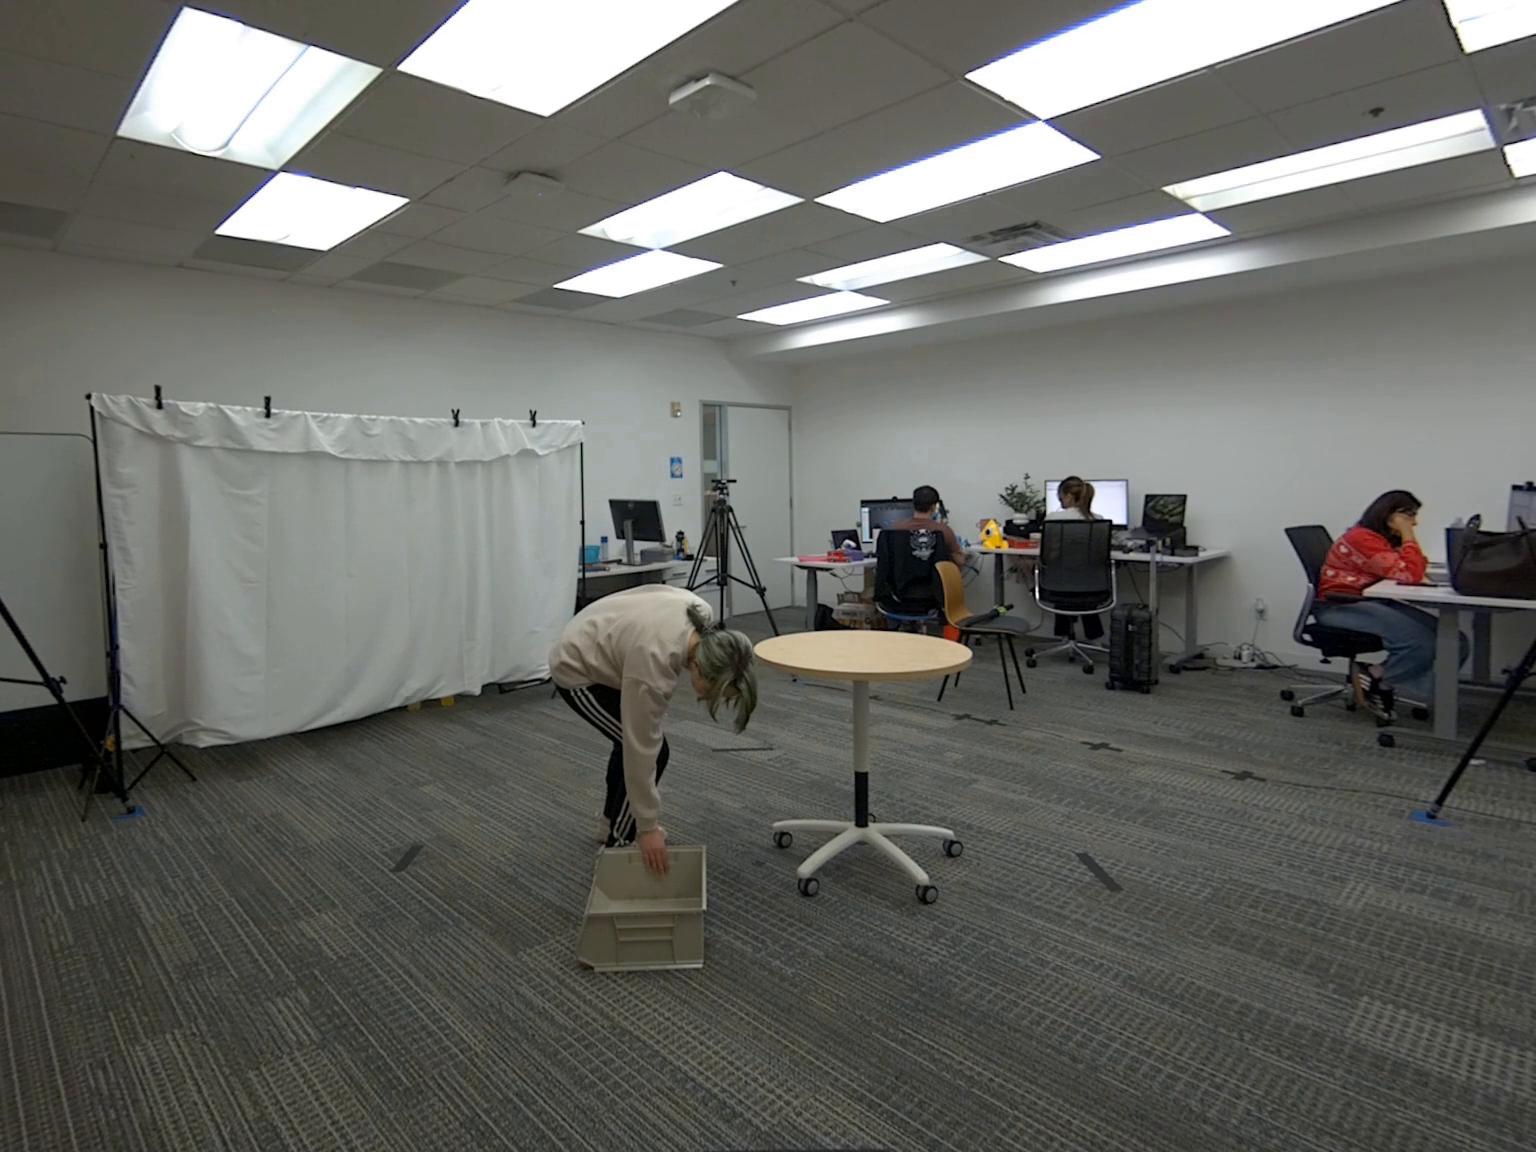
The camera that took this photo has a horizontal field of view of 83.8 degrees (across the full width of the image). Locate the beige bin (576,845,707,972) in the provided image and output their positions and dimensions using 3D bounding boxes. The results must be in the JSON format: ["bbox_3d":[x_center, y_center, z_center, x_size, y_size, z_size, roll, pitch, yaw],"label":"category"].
[{"bbox_3d":[-0.378,1.021,2.642,0.376,0.188,0.425,0,5,-4],"label":"beige bin"}]
